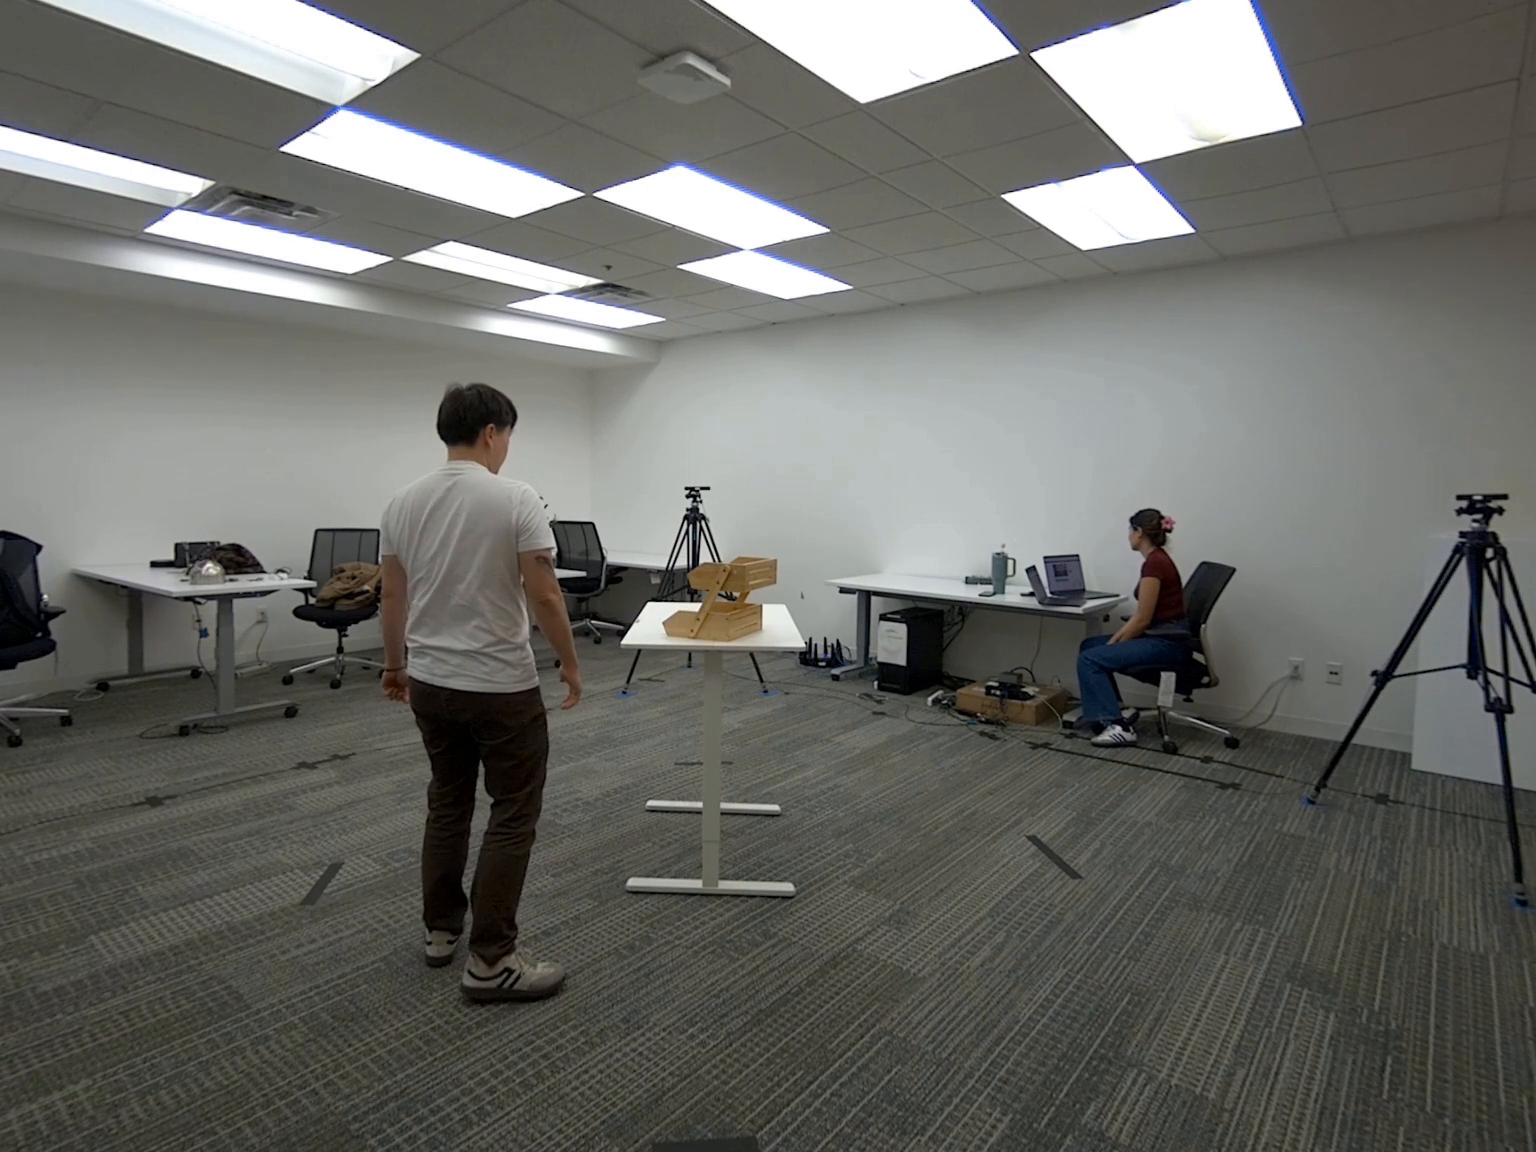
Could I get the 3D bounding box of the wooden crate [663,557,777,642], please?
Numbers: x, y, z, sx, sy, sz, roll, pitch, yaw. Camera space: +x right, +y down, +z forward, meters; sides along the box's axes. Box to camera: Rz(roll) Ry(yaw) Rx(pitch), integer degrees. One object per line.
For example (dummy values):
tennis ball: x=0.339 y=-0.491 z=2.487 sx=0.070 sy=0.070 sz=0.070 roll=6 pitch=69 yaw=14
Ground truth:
wooden crate: x=-0.170 y=0.065 z=2.984 sx=0.309 sy=0.272 sz=0.318 roll=4 pitch=5 yaw=23
